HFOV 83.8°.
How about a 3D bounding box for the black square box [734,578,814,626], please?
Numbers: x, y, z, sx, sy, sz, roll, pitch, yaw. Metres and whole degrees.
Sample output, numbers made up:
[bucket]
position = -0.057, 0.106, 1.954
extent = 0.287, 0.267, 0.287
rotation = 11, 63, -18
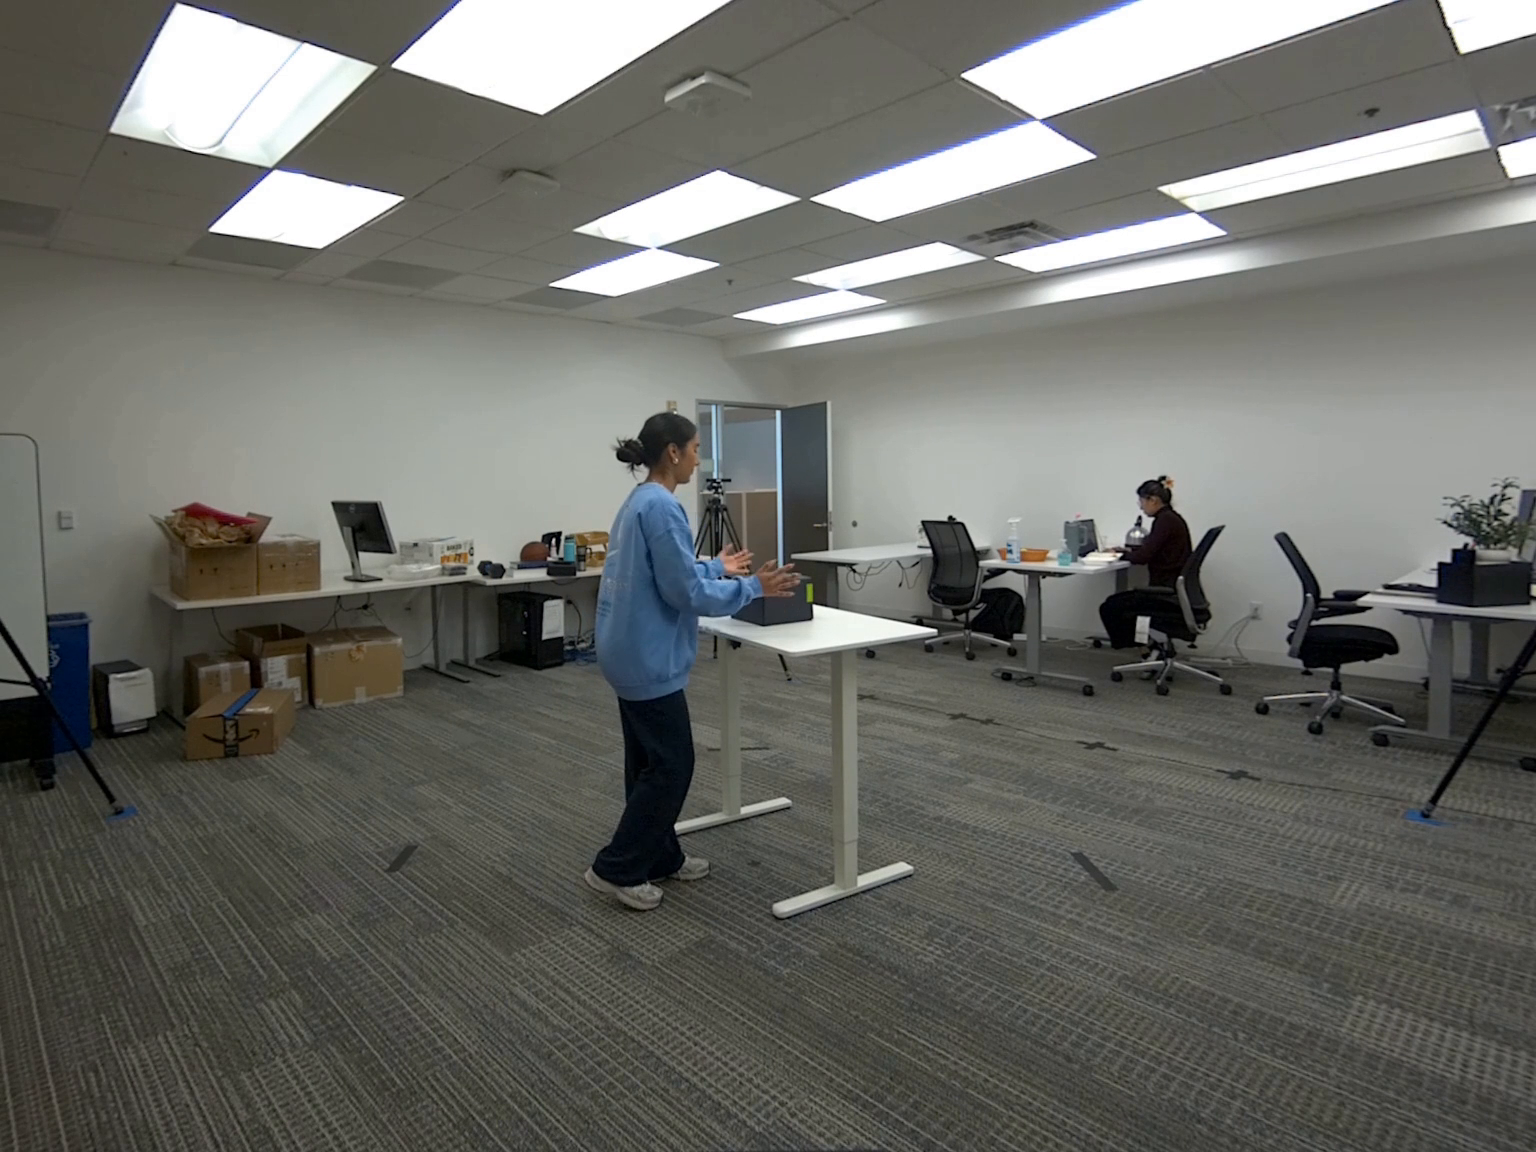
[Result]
[black square box]
position = 0.009, 0.083, 3.121
extent = 0.212, 0.155, 0.234
rotation = -5, 7, -30
